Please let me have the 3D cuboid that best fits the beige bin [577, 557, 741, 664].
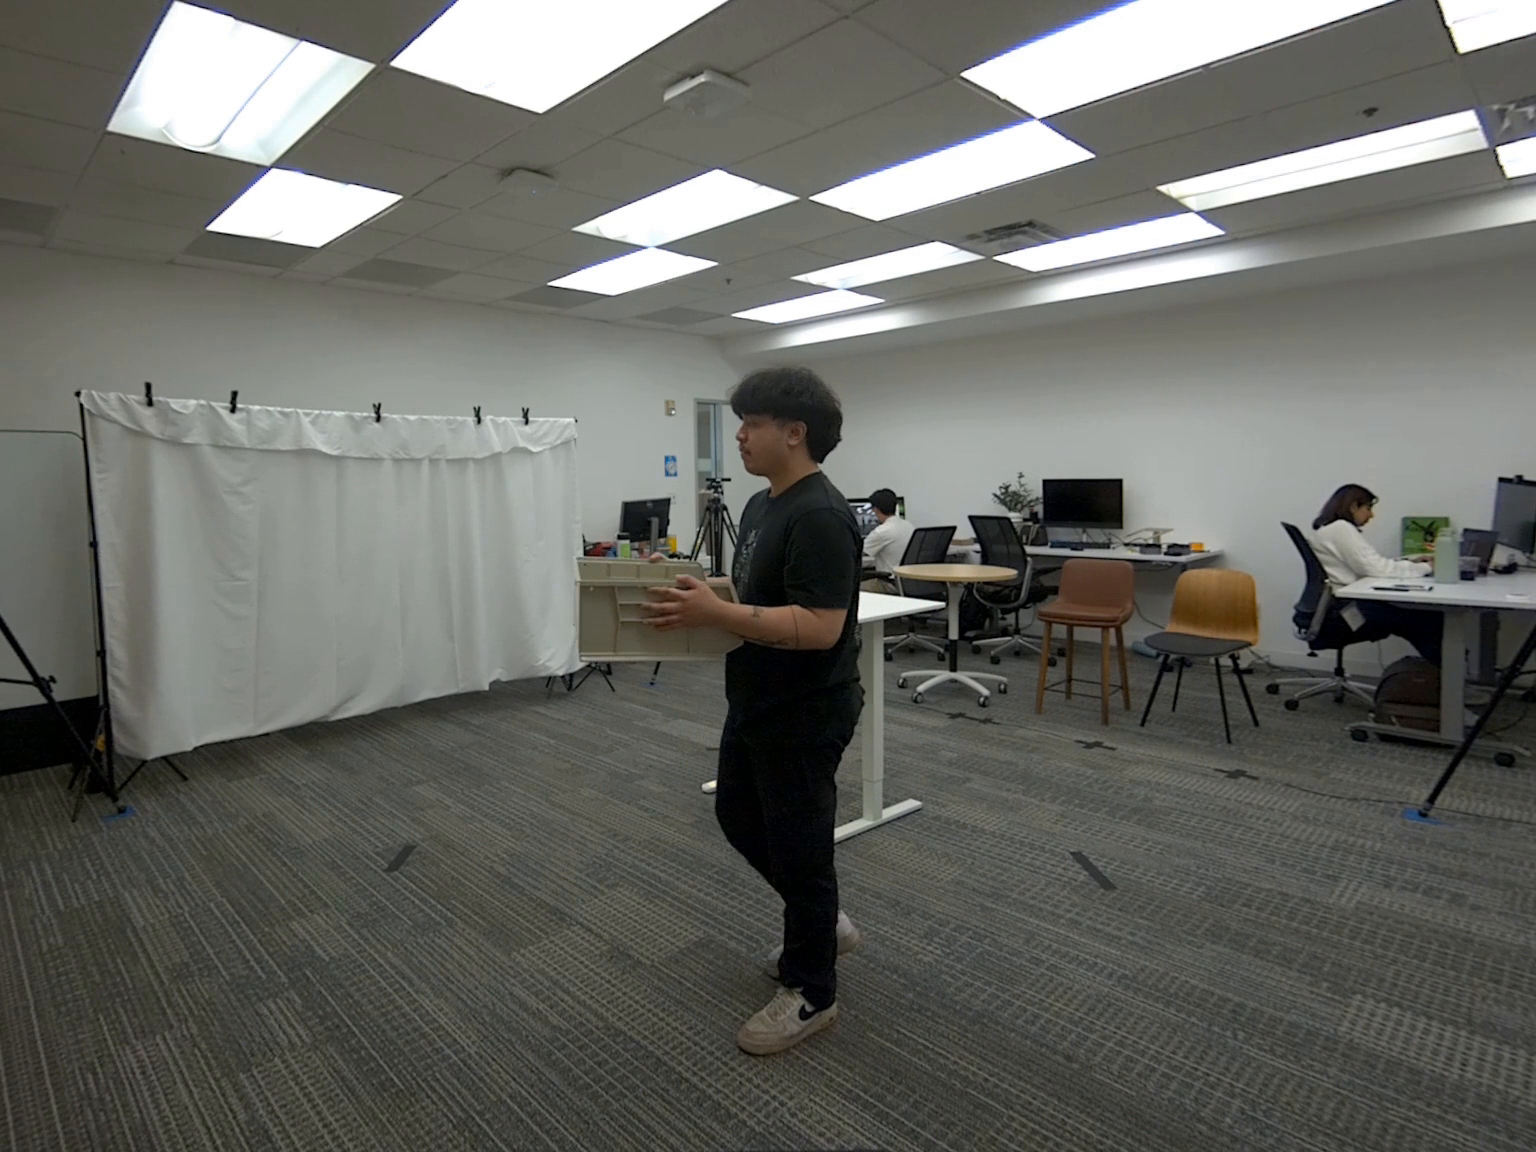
[{"bbox_3d":[-0.280,0.069,2.076,0.373,0.188,0.430,1,8,-13],"label":"beige bin"}]
